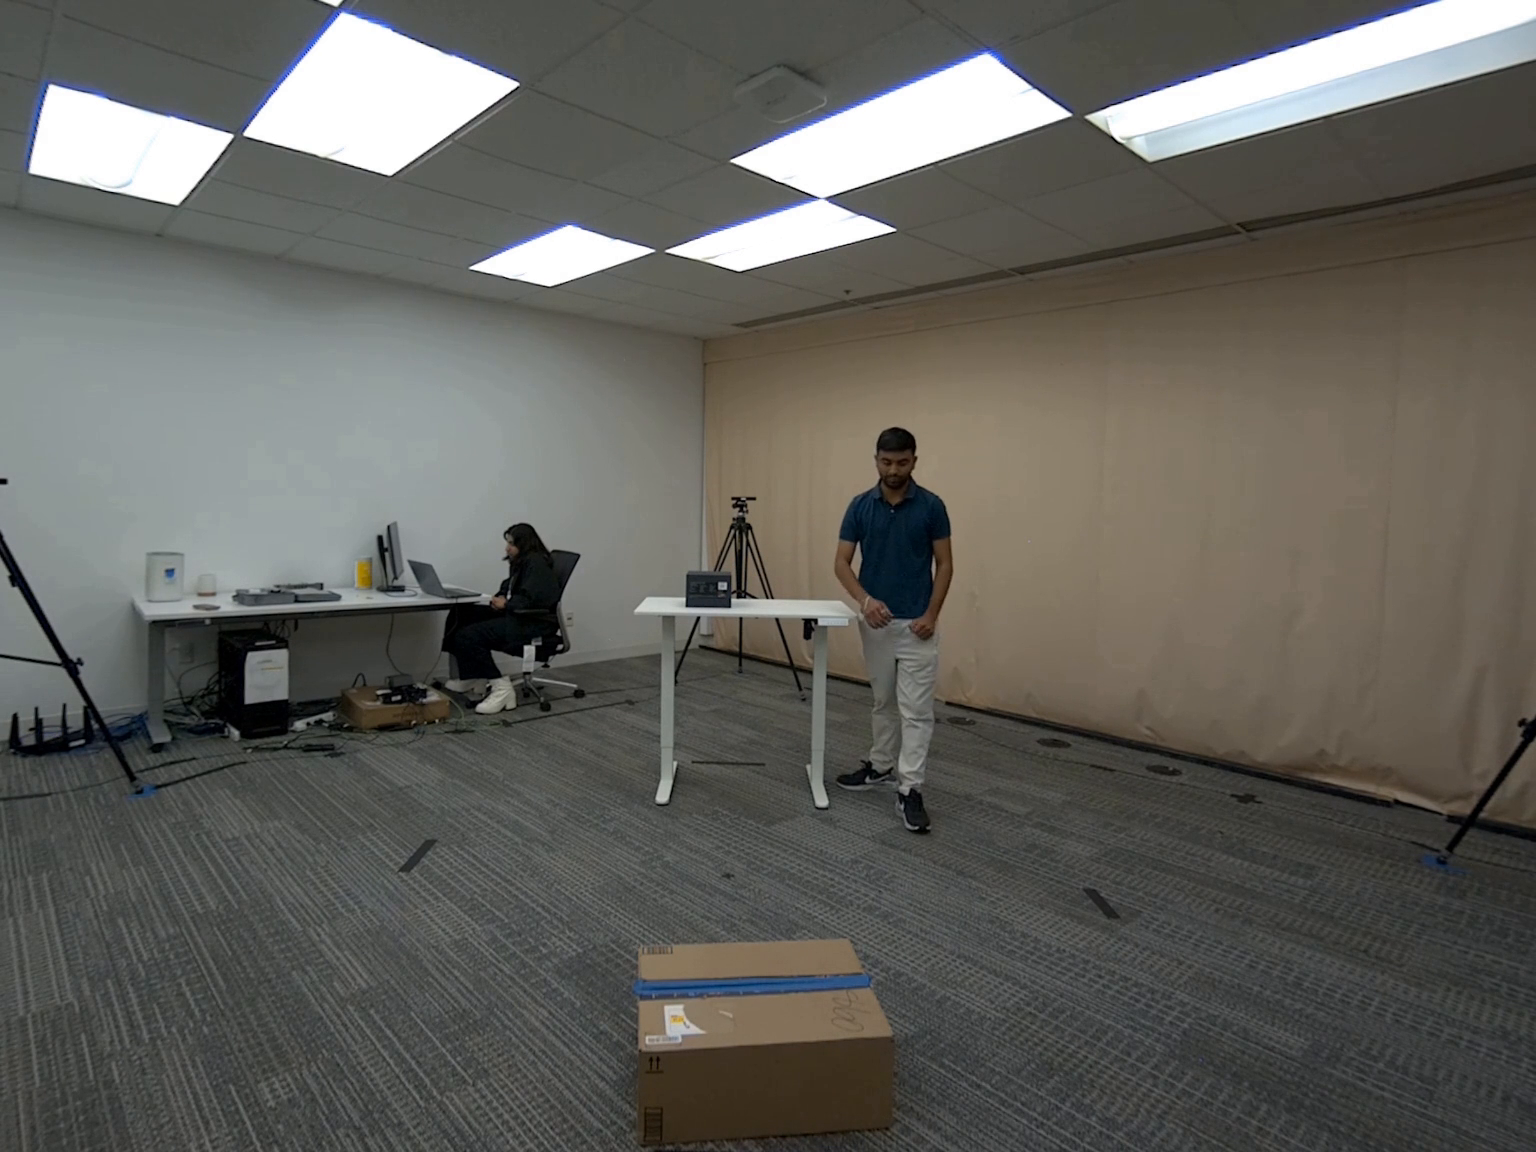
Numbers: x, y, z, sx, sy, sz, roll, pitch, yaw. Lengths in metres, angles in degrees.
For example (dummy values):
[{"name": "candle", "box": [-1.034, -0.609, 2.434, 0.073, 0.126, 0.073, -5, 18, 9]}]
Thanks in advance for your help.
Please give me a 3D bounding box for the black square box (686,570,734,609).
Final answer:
[{"name": "black square box", "box": [-0.280, 0.059, 4.056, 0.216, 0.155, 0.229, 1, 4, -3]}]
